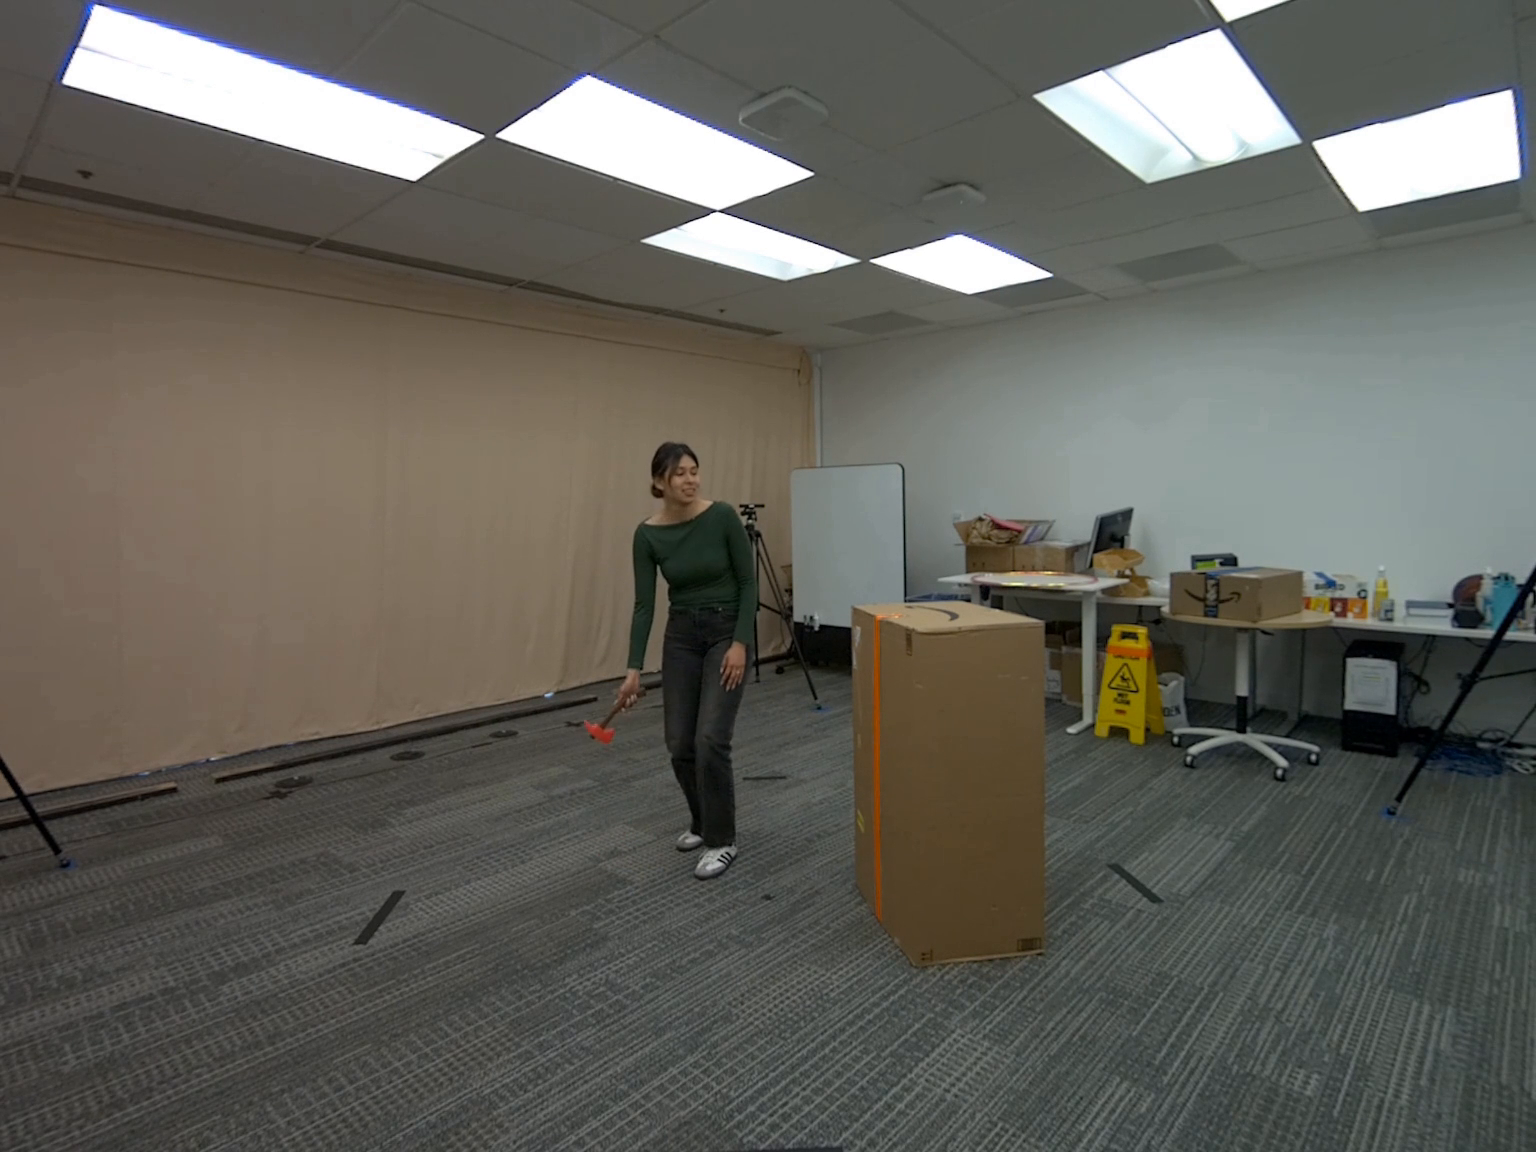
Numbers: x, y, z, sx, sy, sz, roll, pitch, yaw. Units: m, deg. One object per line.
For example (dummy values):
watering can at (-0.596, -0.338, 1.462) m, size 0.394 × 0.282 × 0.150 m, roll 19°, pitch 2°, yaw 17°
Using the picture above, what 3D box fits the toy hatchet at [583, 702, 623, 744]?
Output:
toy hatchet at (-0.564, 0.569, 3.242) m, size 0.267 × 0.130 × 0.030 m, roll -20°, pitch 6°, yaw -11°
